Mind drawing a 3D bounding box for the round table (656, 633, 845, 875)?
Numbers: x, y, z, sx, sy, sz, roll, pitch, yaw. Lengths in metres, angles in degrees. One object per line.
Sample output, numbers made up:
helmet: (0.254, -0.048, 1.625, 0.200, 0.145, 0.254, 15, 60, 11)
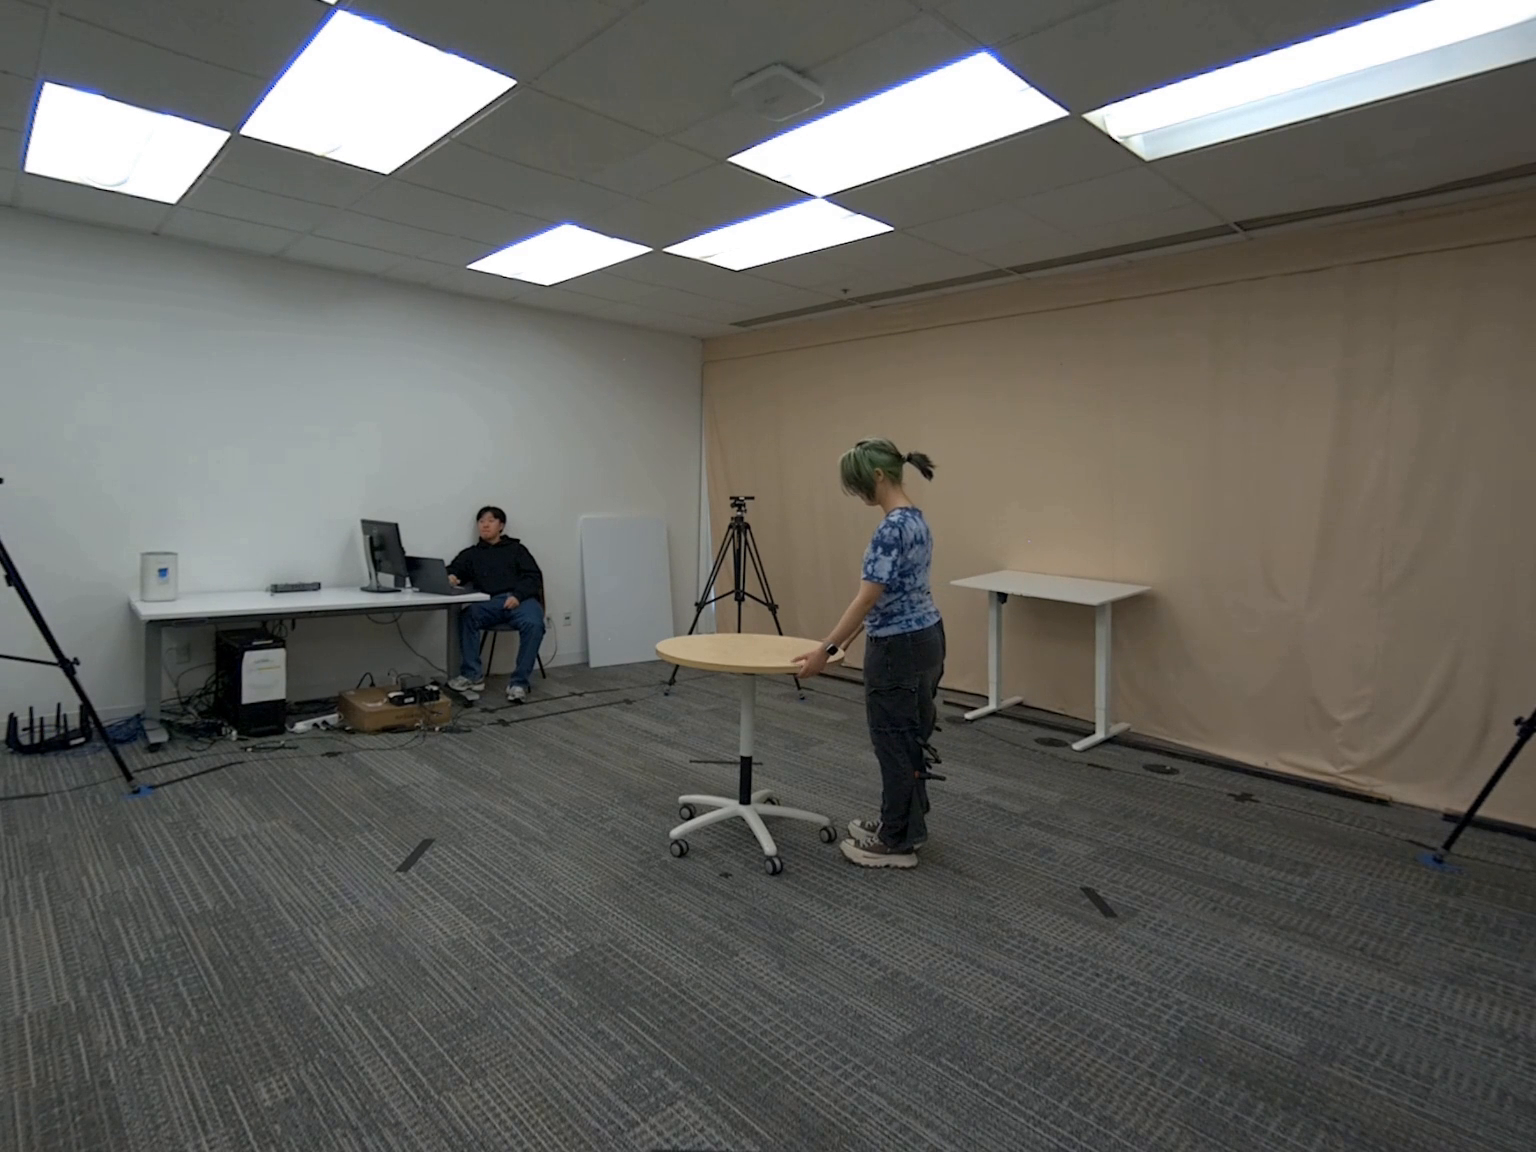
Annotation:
round table: (-0.092, 0.685, 3.432, 0.763, 0.792, 0.766, 2, 4, -1)
